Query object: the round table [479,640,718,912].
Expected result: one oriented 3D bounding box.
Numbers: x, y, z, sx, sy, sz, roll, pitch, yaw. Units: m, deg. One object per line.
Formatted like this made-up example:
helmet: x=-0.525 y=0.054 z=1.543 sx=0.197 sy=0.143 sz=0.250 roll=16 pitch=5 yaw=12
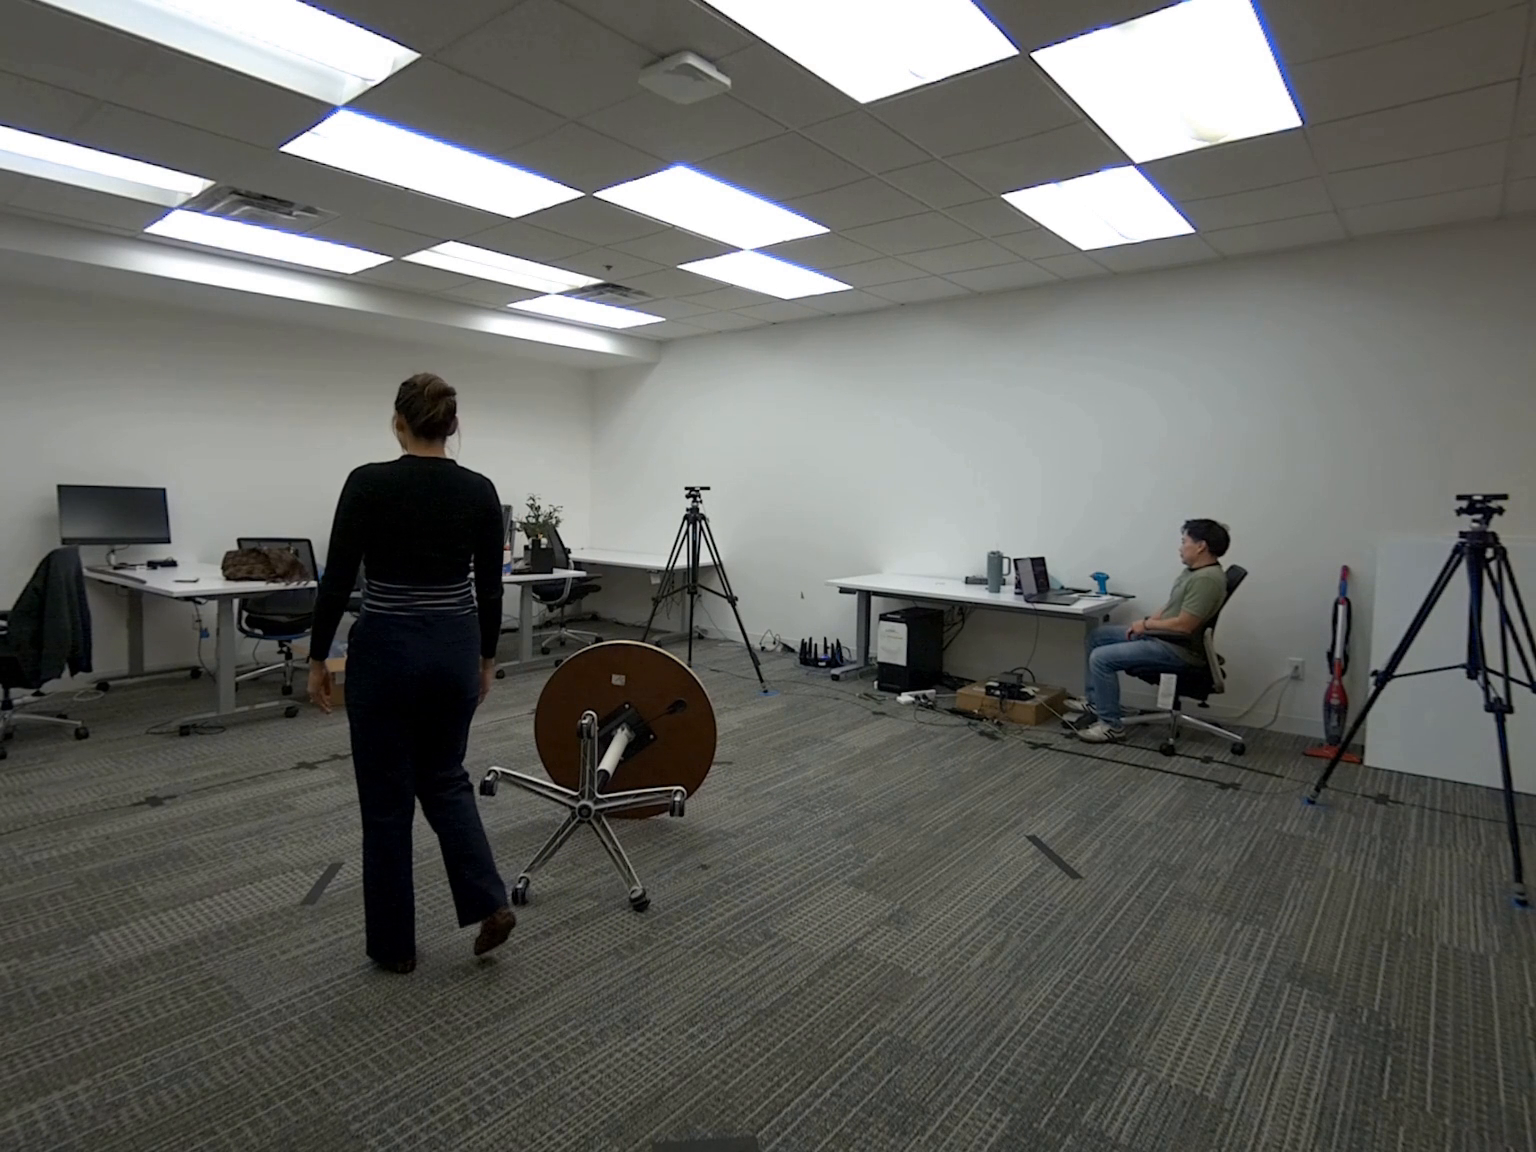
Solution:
round table: x=-0.610 y=0.717 z=3.134 sx=0.767 sy=0.757 sz=0.799 roll=1 pitch=10 yaw=3
